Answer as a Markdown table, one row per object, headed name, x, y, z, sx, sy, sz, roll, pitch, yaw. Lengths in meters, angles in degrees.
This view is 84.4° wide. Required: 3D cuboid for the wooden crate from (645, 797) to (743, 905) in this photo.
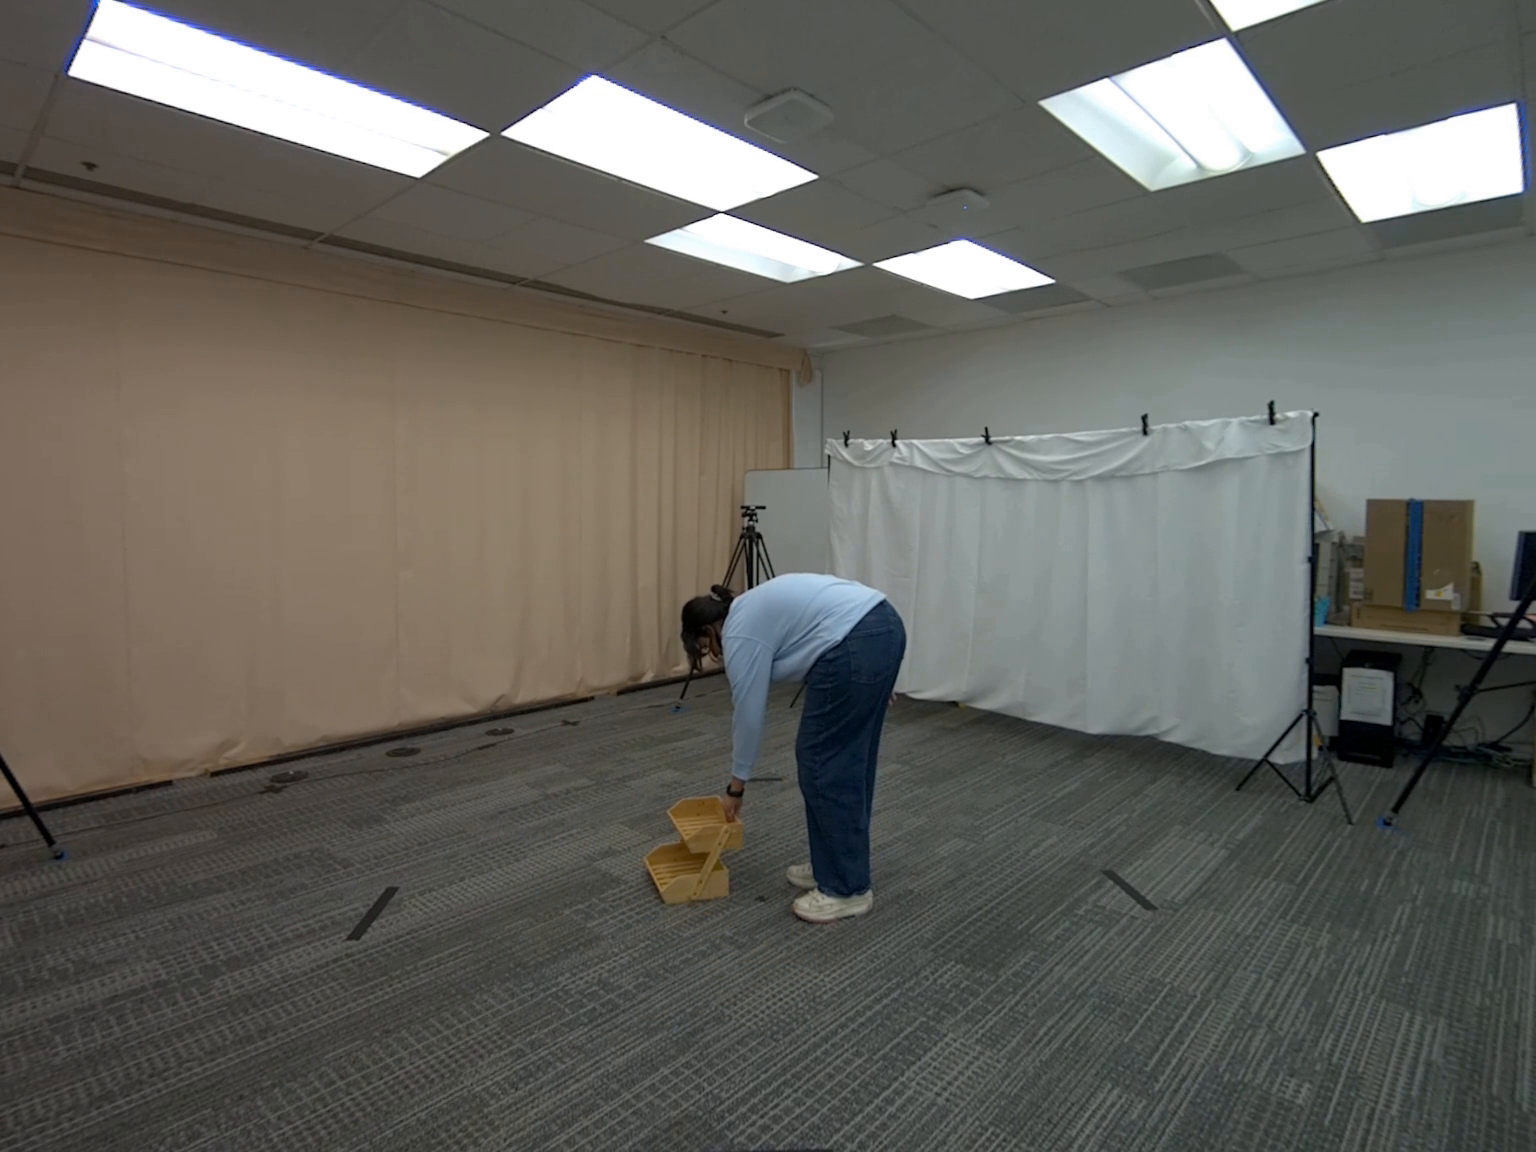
| name | x | y | z | sx | sy | sz | roll | pitch | yaw |
| --- | --- | --- | --- | --- | --- | --- | --- | --- | --- |
| wooden crate | -0.285 | 1.001 | 3.117 | 0.296 | 0.273 | 0.331 | -1 | 4 | -19 |
